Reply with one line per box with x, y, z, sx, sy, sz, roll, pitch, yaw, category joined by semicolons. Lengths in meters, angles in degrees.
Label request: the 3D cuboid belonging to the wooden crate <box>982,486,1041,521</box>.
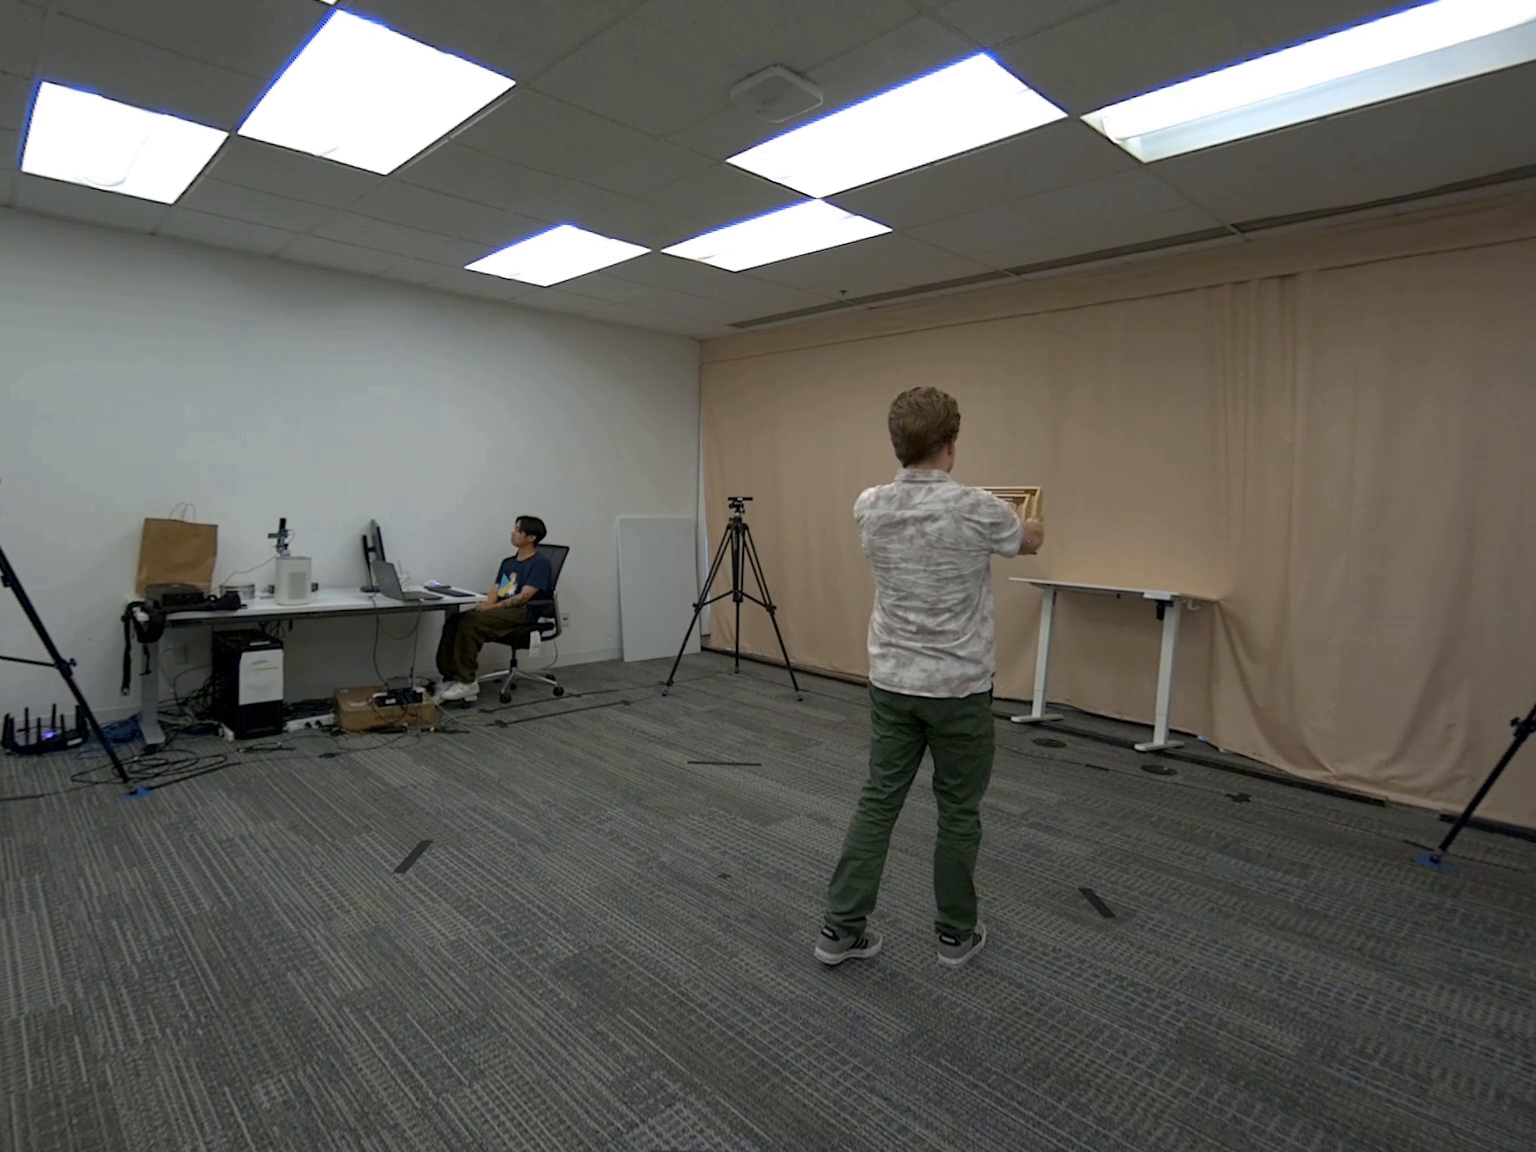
0.808;-0.214;3.071;0.331;0.304;0.265;2;-15;30;wooden crate
